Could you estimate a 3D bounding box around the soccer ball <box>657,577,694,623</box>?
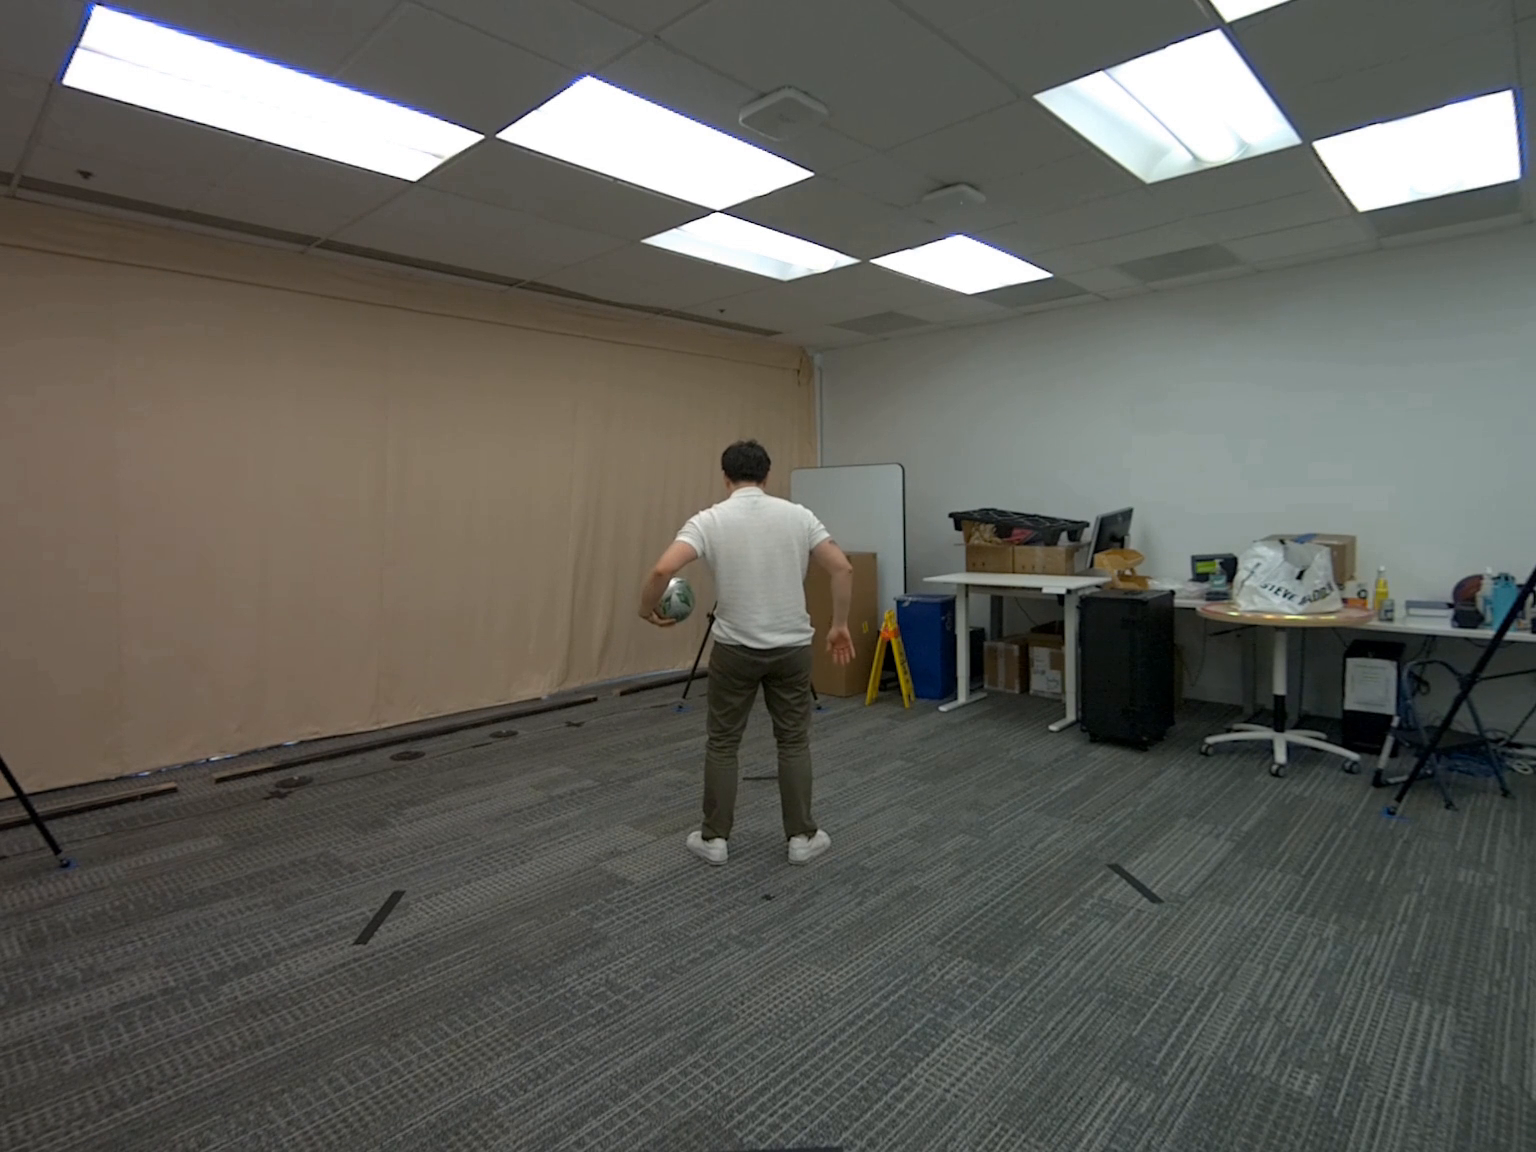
[{"bbox_3d":[-0.375,0.095,3.304,0.187,0.187,0.188,-1,4,-2],"label":"soccer ball"}]
